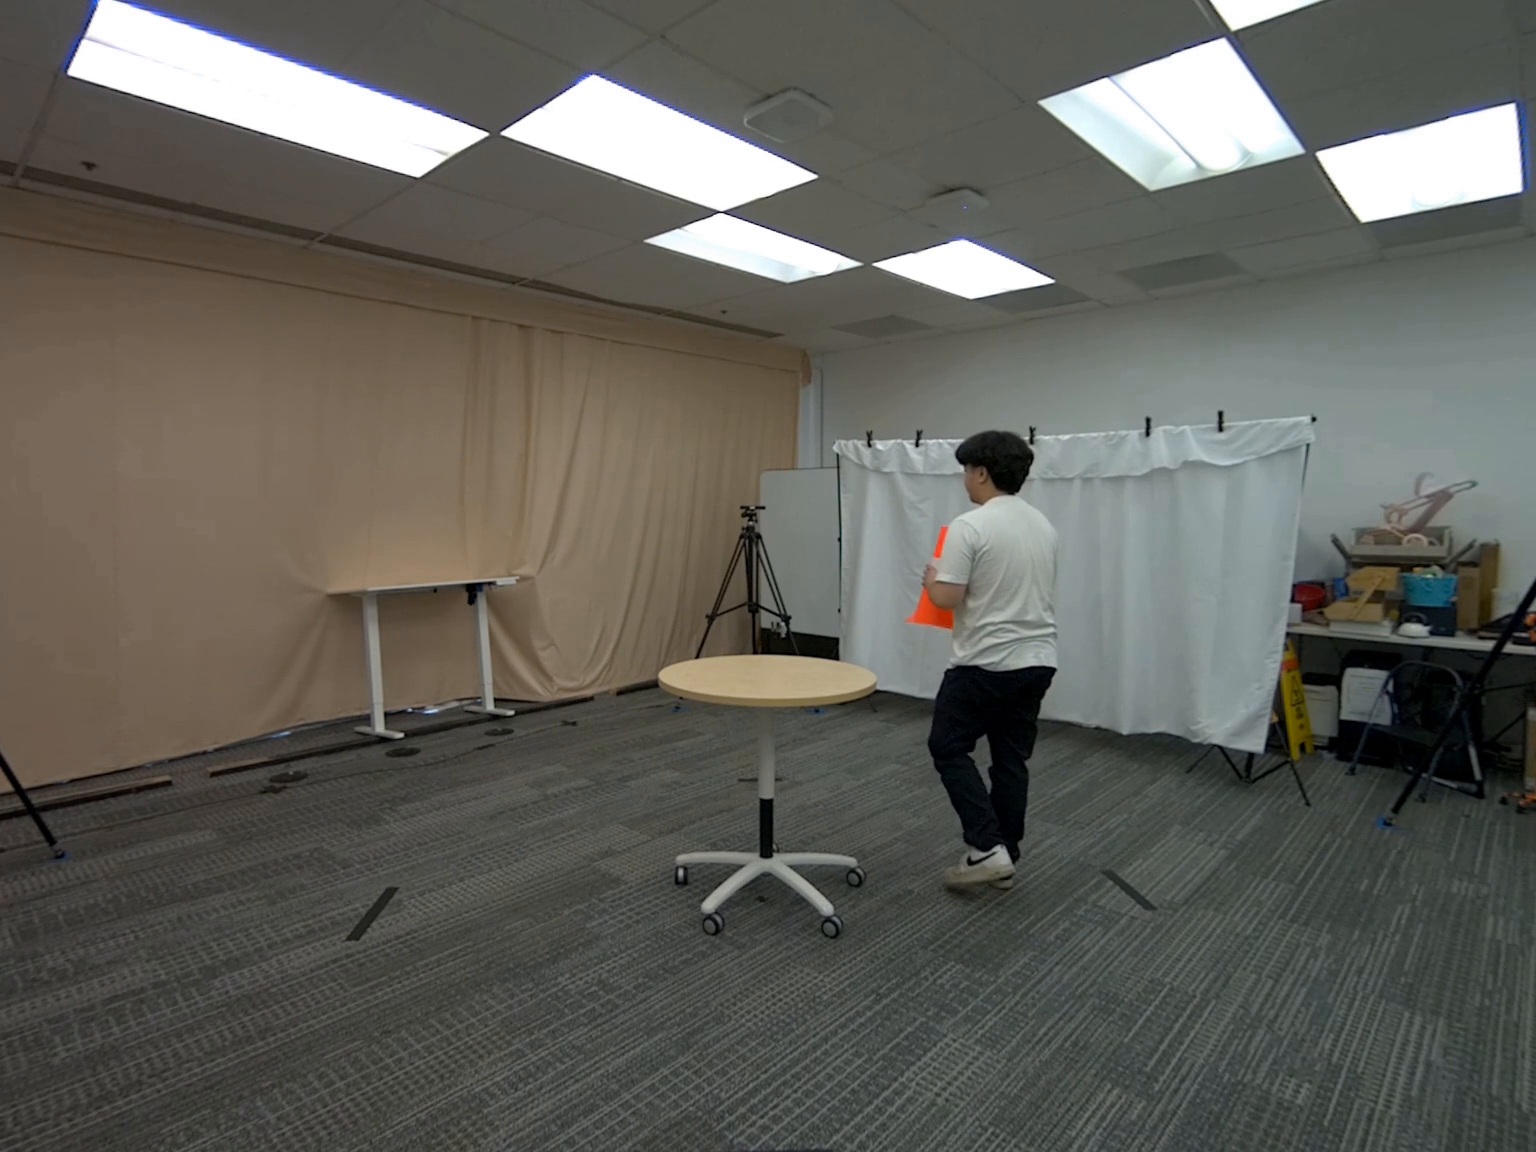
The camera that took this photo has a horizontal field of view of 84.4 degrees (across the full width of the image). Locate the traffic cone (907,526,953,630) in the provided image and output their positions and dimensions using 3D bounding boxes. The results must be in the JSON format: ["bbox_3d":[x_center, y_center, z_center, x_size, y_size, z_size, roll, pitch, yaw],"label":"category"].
[{"bbox_3d":[0.688,-0.004,3.335,0.210,0.382,0.198,7,6,25],"label":"traffic cone"}]
